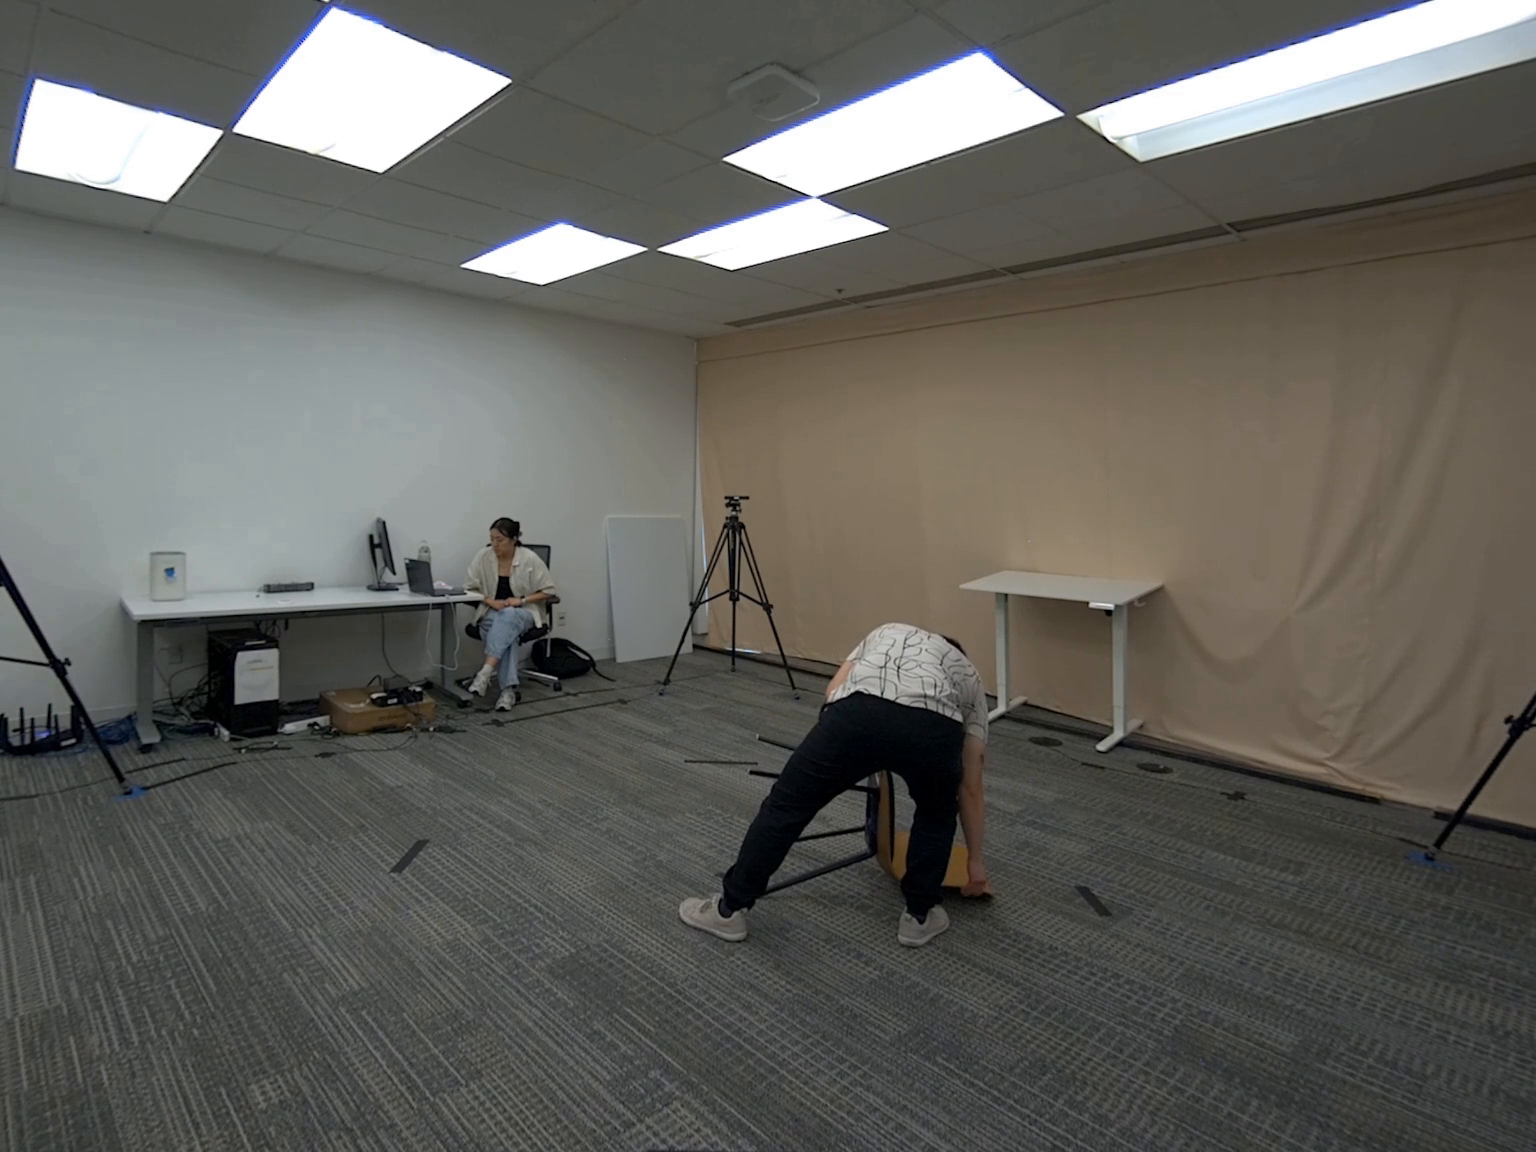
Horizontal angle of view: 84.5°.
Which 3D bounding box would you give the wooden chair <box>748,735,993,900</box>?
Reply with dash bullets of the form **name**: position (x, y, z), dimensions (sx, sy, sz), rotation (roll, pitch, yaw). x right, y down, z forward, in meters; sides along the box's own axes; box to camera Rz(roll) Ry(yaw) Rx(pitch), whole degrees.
- **wooden chair**: position (0.377, 0.863, 3.084), dimensions (0.881, 0.522, 0.477), rotation (4, 4, 5)
